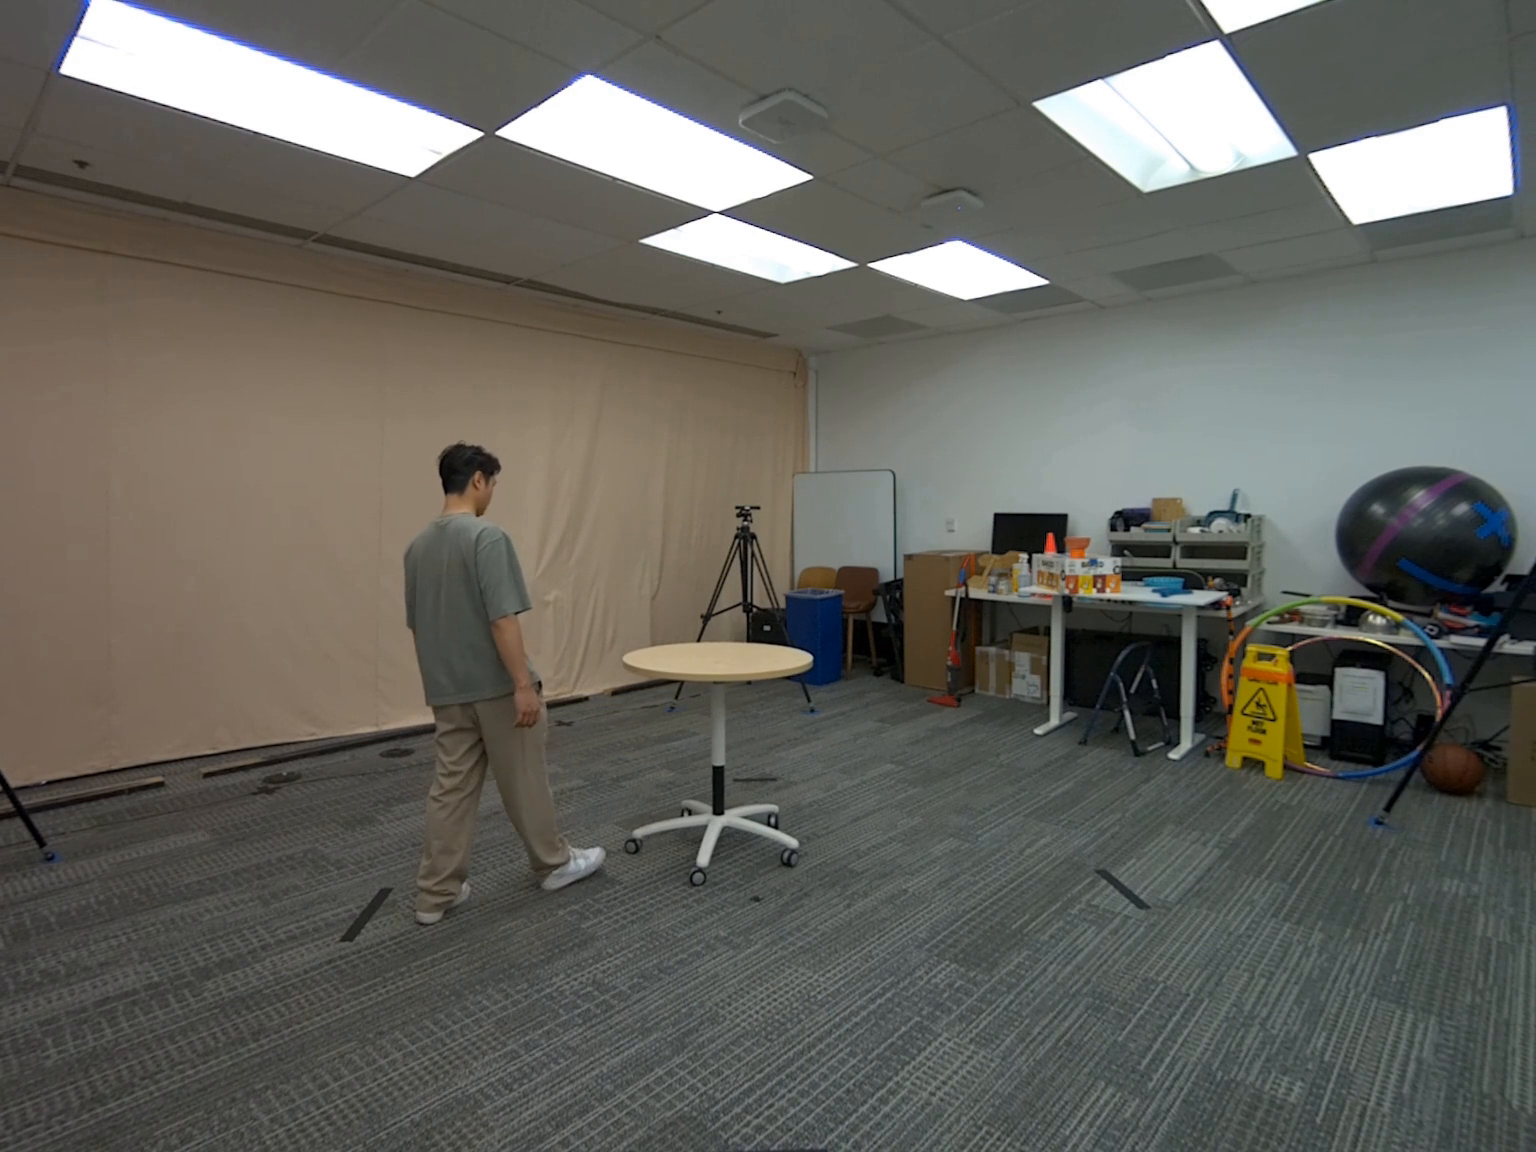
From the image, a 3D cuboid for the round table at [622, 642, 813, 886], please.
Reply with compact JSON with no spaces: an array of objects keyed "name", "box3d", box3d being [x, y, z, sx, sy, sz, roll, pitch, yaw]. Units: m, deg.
[{"name":"round table","box3d":[-0.207,0.715,3.429,0.784,0.785,0.788,0,3,-2]}]
